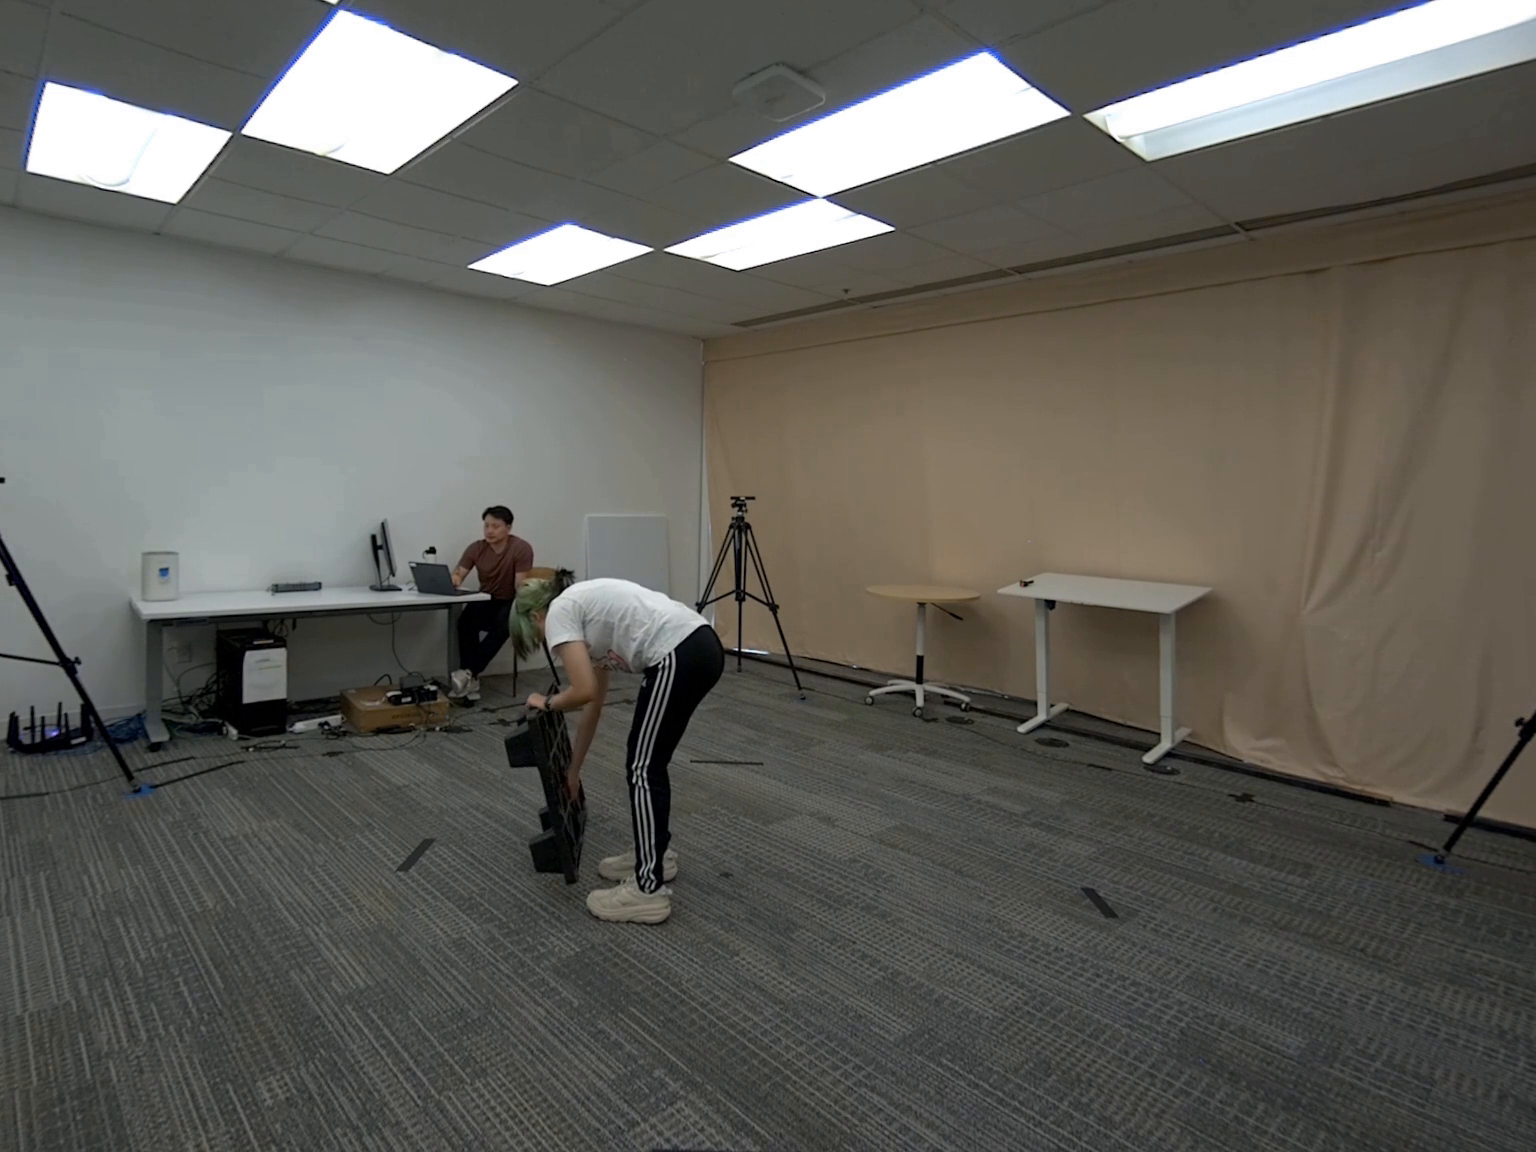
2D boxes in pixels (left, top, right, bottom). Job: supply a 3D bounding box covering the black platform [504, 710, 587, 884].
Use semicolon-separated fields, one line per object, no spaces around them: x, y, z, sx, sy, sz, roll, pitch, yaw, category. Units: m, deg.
-0.850;0.758;3.242;0.142;0.604;0.811;-11;3;-9;black platform
